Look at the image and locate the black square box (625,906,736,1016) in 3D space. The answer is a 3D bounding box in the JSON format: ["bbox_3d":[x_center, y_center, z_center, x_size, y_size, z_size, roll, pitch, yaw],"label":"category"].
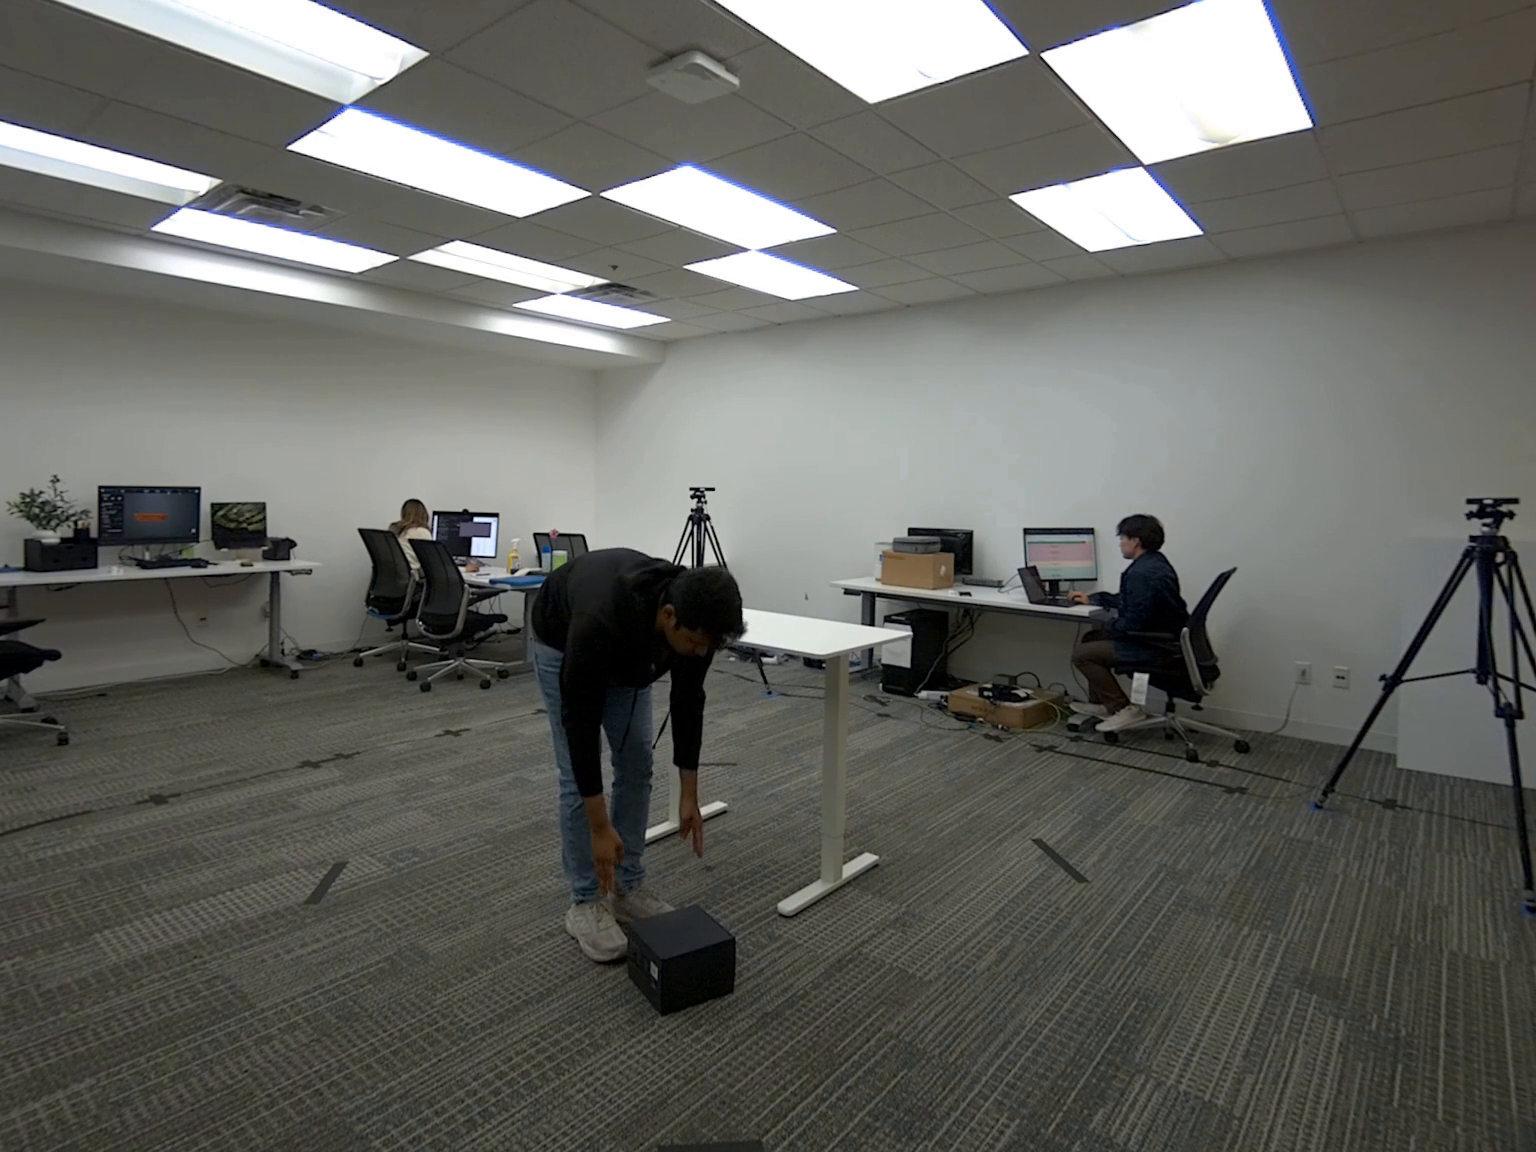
[{"bbox_3d":[-0.250,1.055,2.371,0.221,0.155,0.224,-2,6,-34],"label":"black square box"}]
